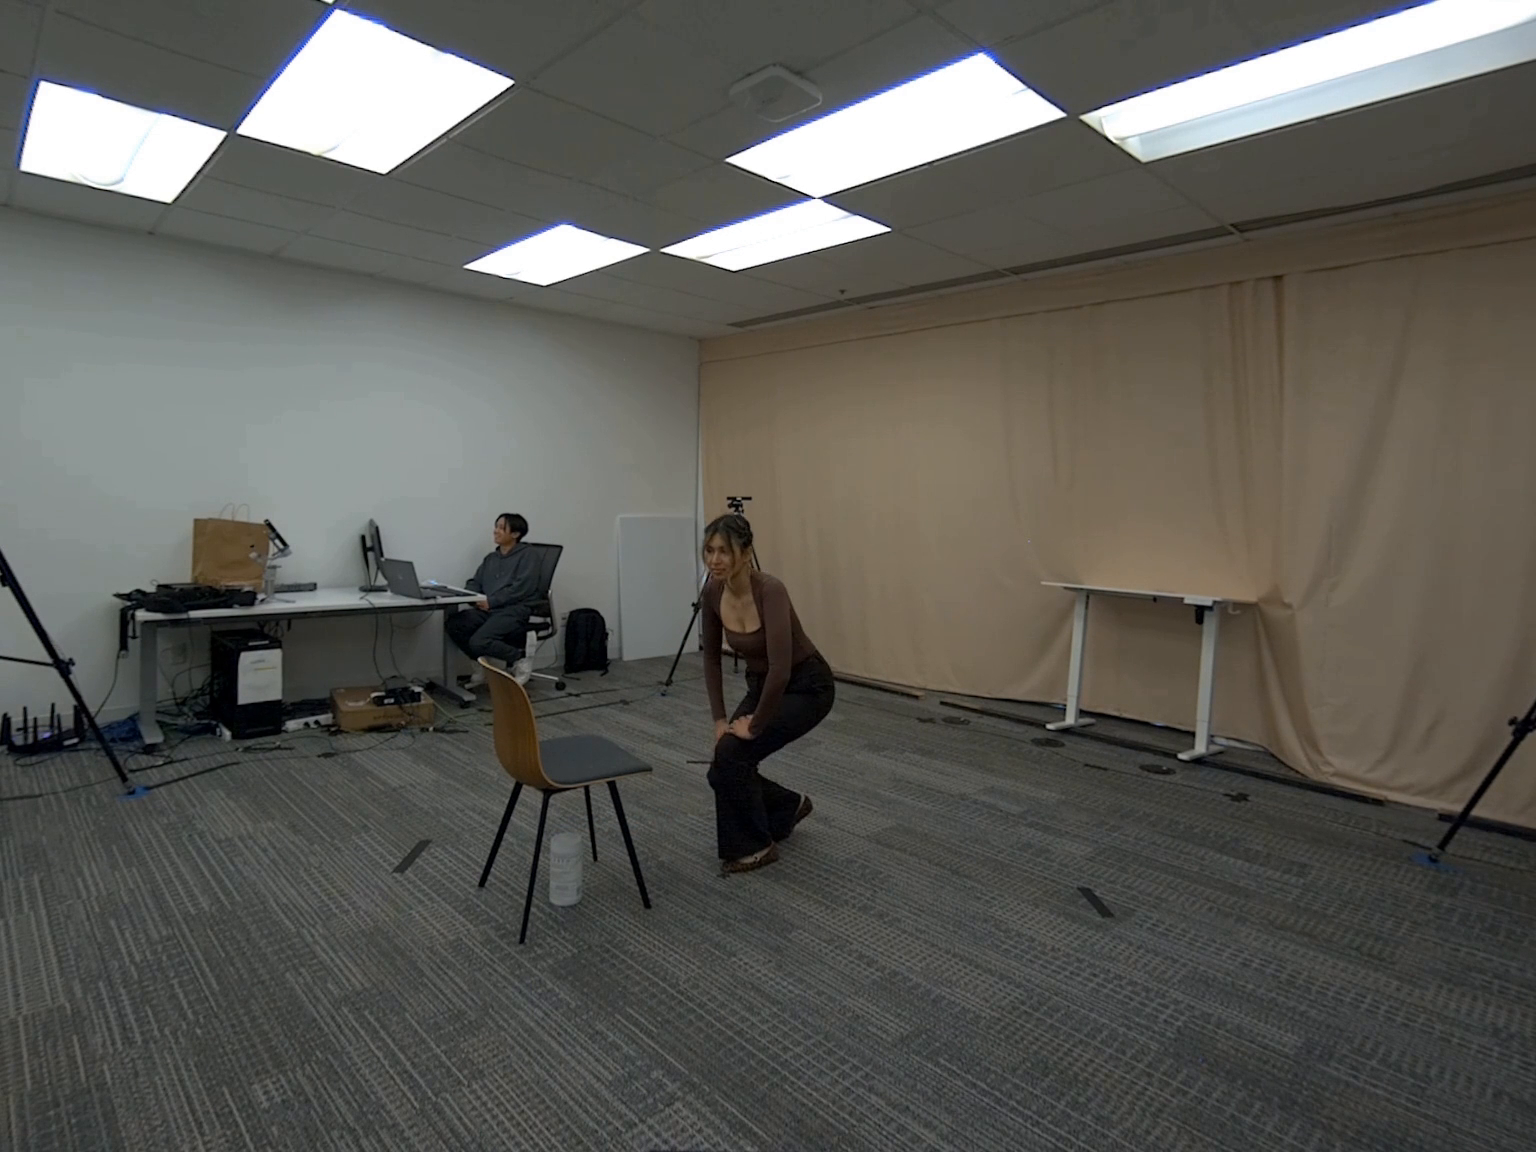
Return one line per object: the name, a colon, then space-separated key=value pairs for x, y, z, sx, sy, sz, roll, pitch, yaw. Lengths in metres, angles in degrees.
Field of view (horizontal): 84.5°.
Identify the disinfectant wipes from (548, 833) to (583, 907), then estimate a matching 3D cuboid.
disinfectant wipes: x=-0.704 y=1.015 z=2.887 sx=0.118 sy=0.217 sz=0.118 roll=3 pitch=4 yaw=-2
